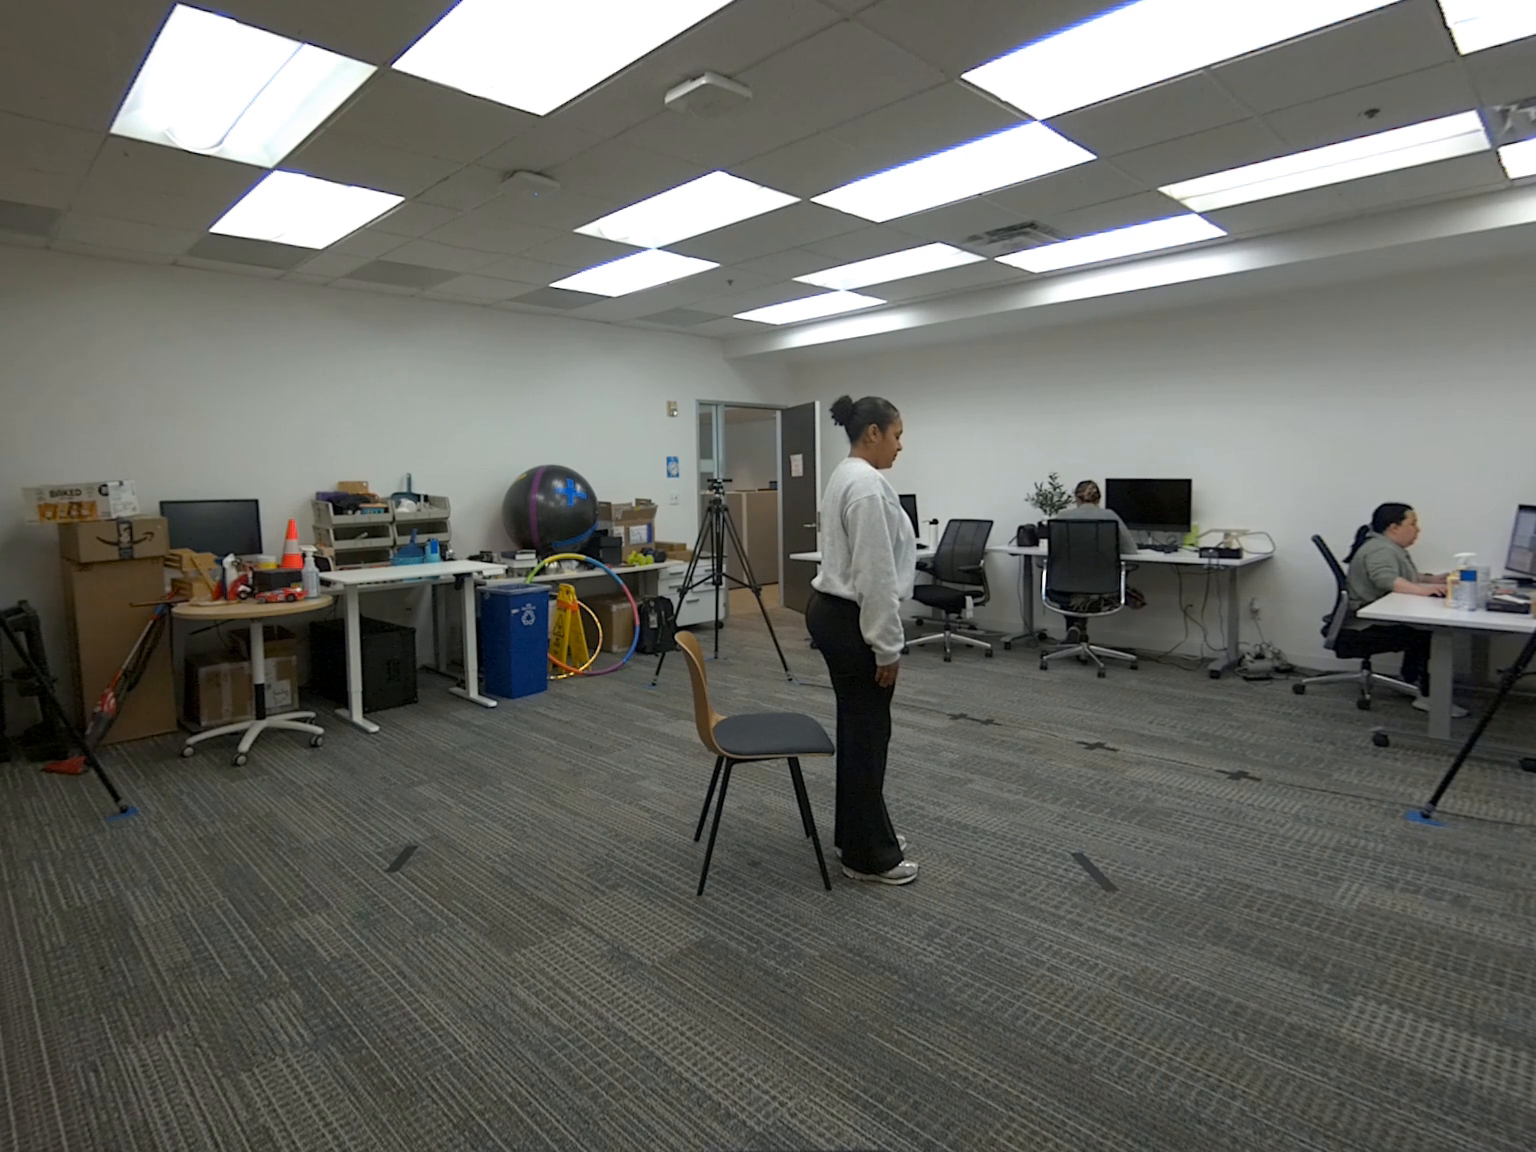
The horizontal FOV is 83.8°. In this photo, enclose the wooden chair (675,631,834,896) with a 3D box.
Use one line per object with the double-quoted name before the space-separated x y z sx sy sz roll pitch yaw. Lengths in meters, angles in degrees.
"wooden chair" -0.036 0.617 3.070 0.521 0.874 0.482 -5 4 -5
